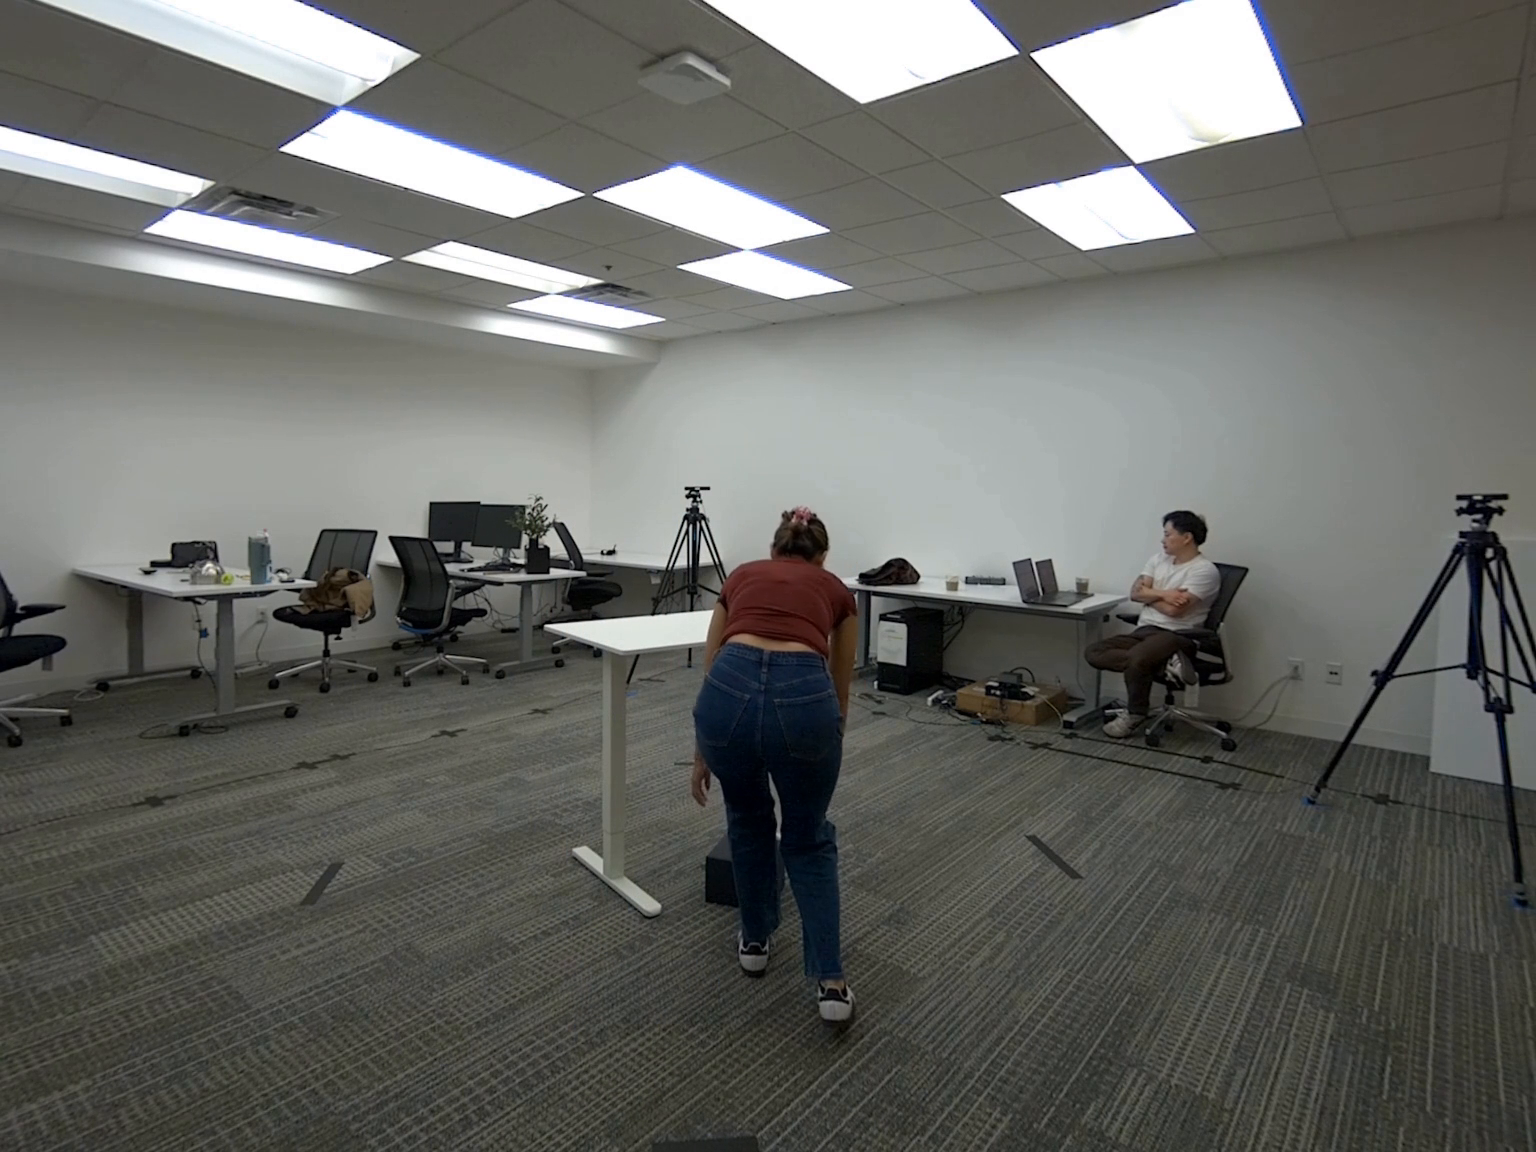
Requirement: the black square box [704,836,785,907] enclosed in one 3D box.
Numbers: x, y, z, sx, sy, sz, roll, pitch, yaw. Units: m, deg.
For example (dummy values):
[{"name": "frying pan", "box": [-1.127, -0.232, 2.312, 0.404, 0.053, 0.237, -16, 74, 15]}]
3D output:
[{"name": "black square box", "box": [-0.087, 0.999, 2.913, 0.221, 0.155, 0.224, 3, 5, 17]}]
